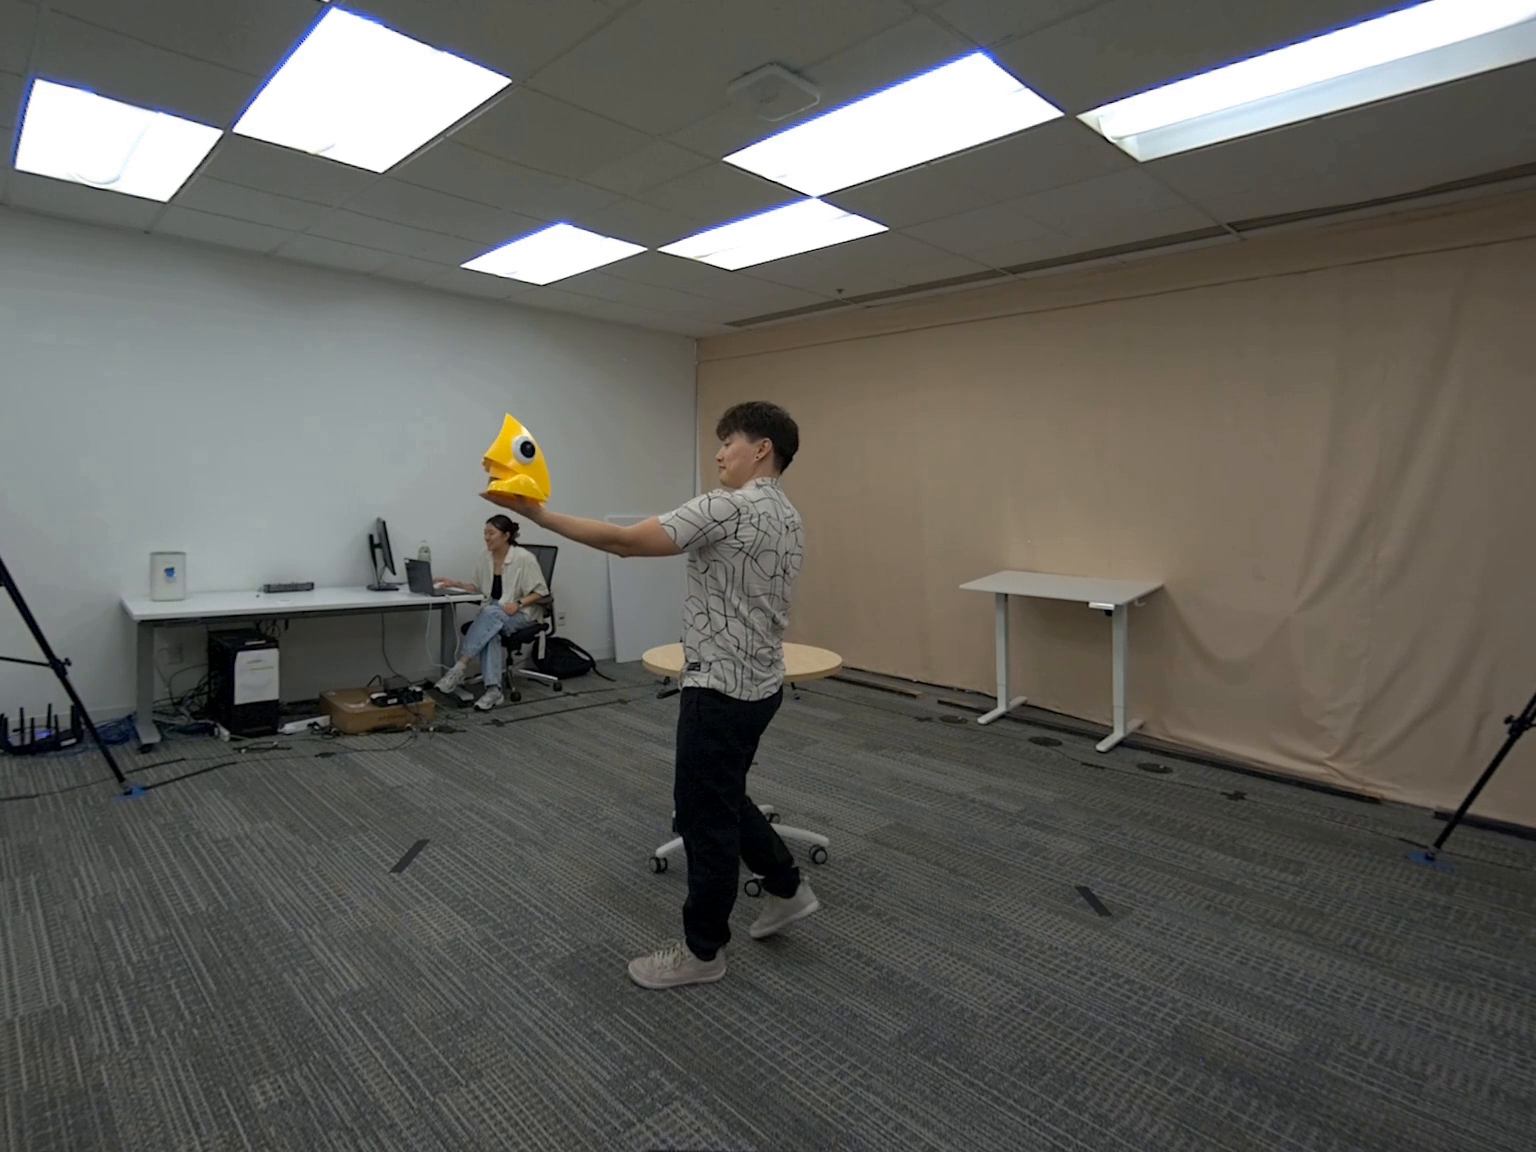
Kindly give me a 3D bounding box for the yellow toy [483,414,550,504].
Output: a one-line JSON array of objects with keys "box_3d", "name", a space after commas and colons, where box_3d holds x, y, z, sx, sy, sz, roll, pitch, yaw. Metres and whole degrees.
[{"box_3d": [-0.675, -0.317, 2.294, 0.190, 0.232, 0.206, 11, -8, -15], "name": "yellow toy"}]
